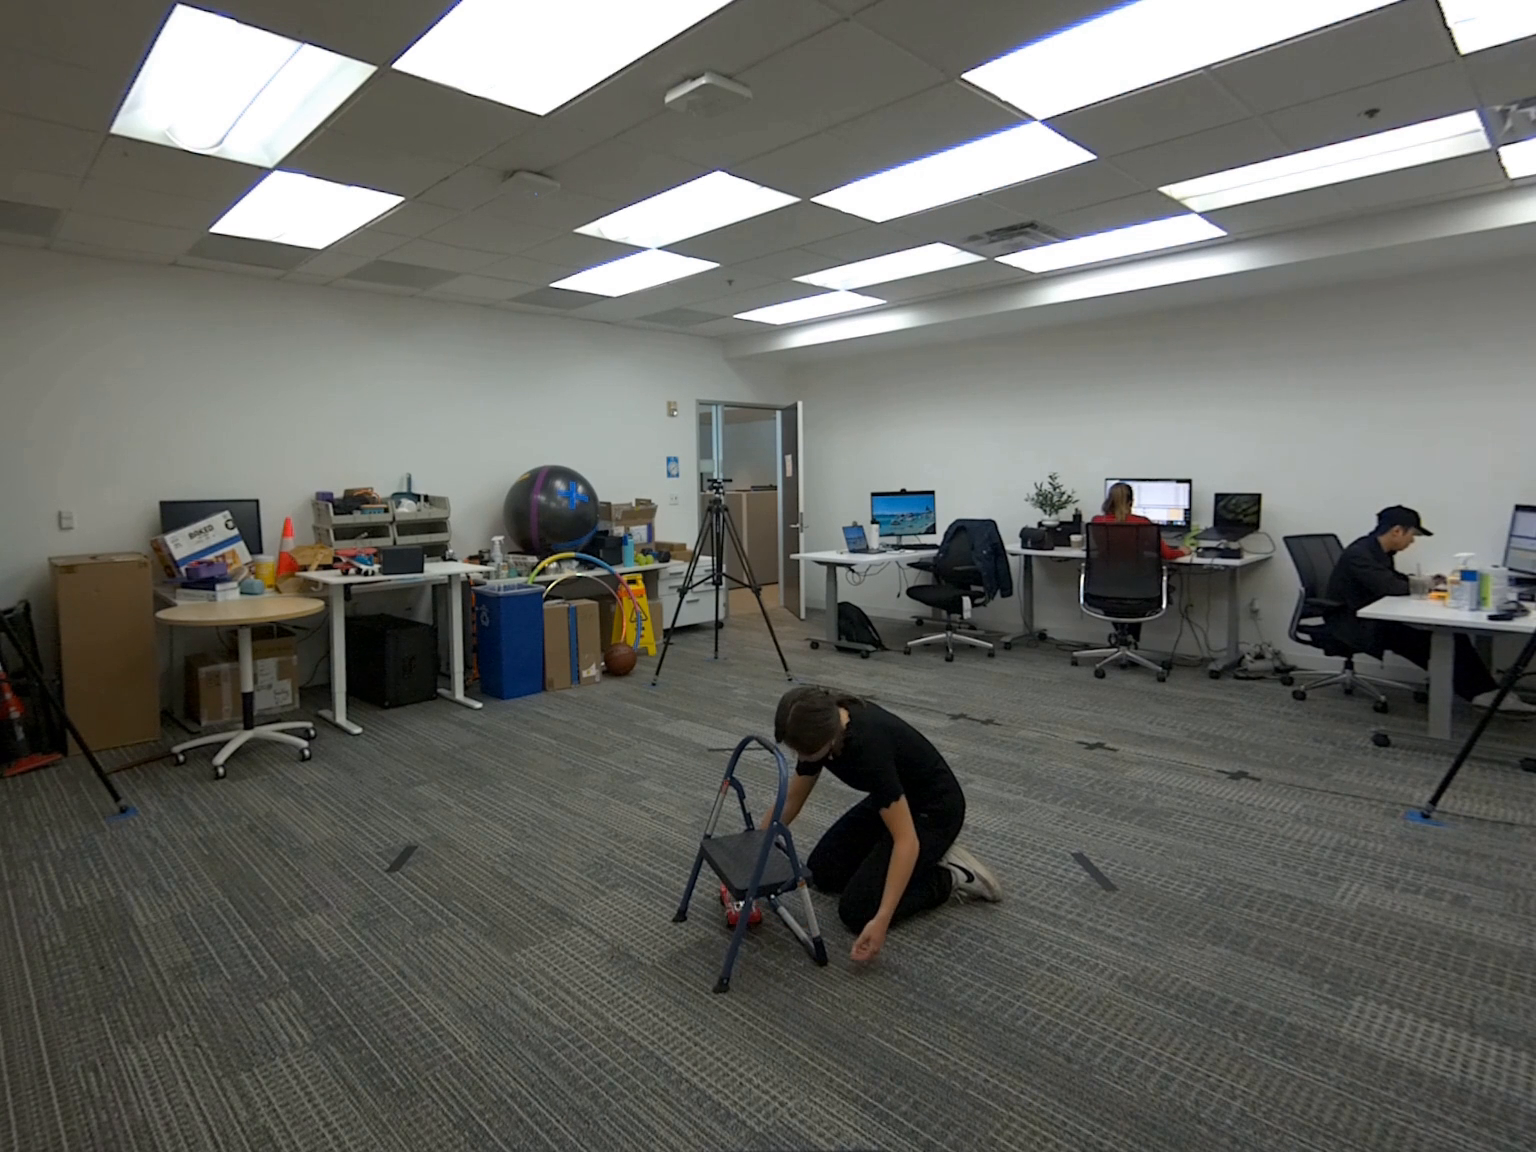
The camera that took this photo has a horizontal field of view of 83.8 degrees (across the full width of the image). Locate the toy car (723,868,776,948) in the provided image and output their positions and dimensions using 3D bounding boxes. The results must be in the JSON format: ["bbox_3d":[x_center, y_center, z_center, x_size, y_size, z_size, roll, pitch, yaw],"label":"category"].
[{"bbox_3d":[-0.064,1.068,2.773,0.129,0.082,0.260,-4,17,-8],"label":"toy car"}]
